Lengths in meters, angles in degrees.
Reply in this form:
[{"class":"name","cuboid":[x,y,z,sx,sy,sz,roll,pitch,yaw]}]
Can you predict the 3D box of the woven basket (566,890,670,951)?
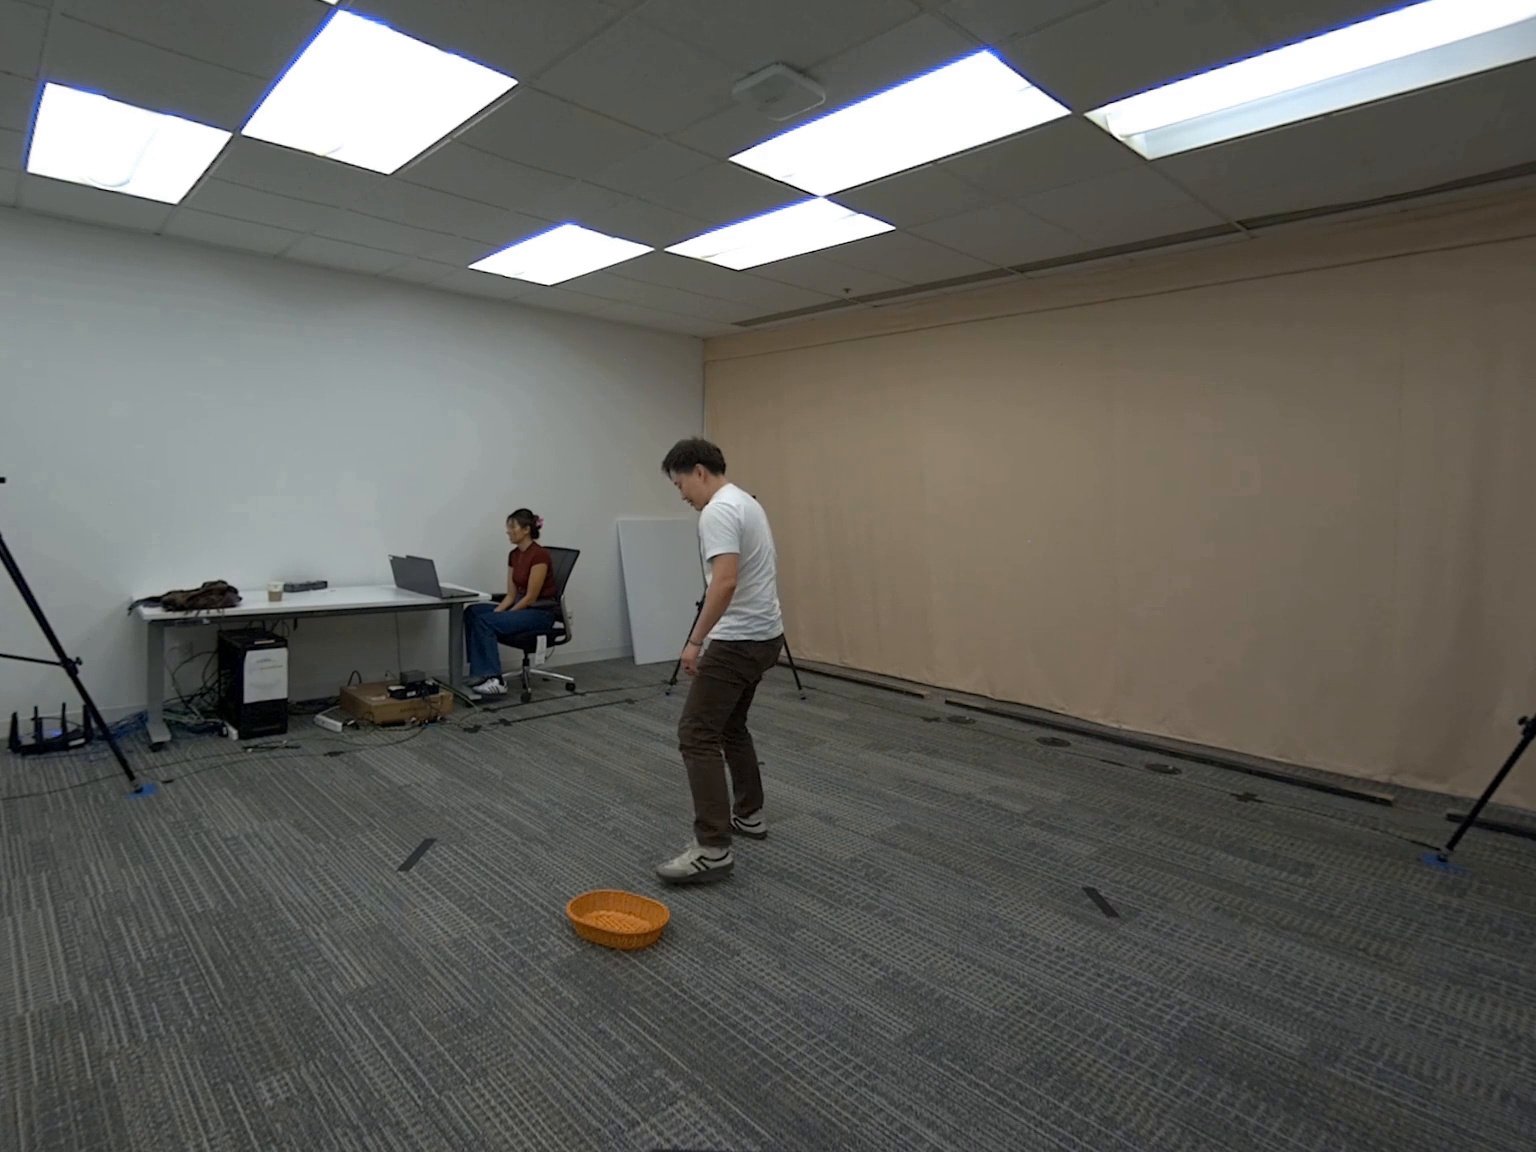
[{"class":"woven basket","cuboid":[-0.485,1.096,2.679,0.358,0.073,0.247,4,4,28]}]
